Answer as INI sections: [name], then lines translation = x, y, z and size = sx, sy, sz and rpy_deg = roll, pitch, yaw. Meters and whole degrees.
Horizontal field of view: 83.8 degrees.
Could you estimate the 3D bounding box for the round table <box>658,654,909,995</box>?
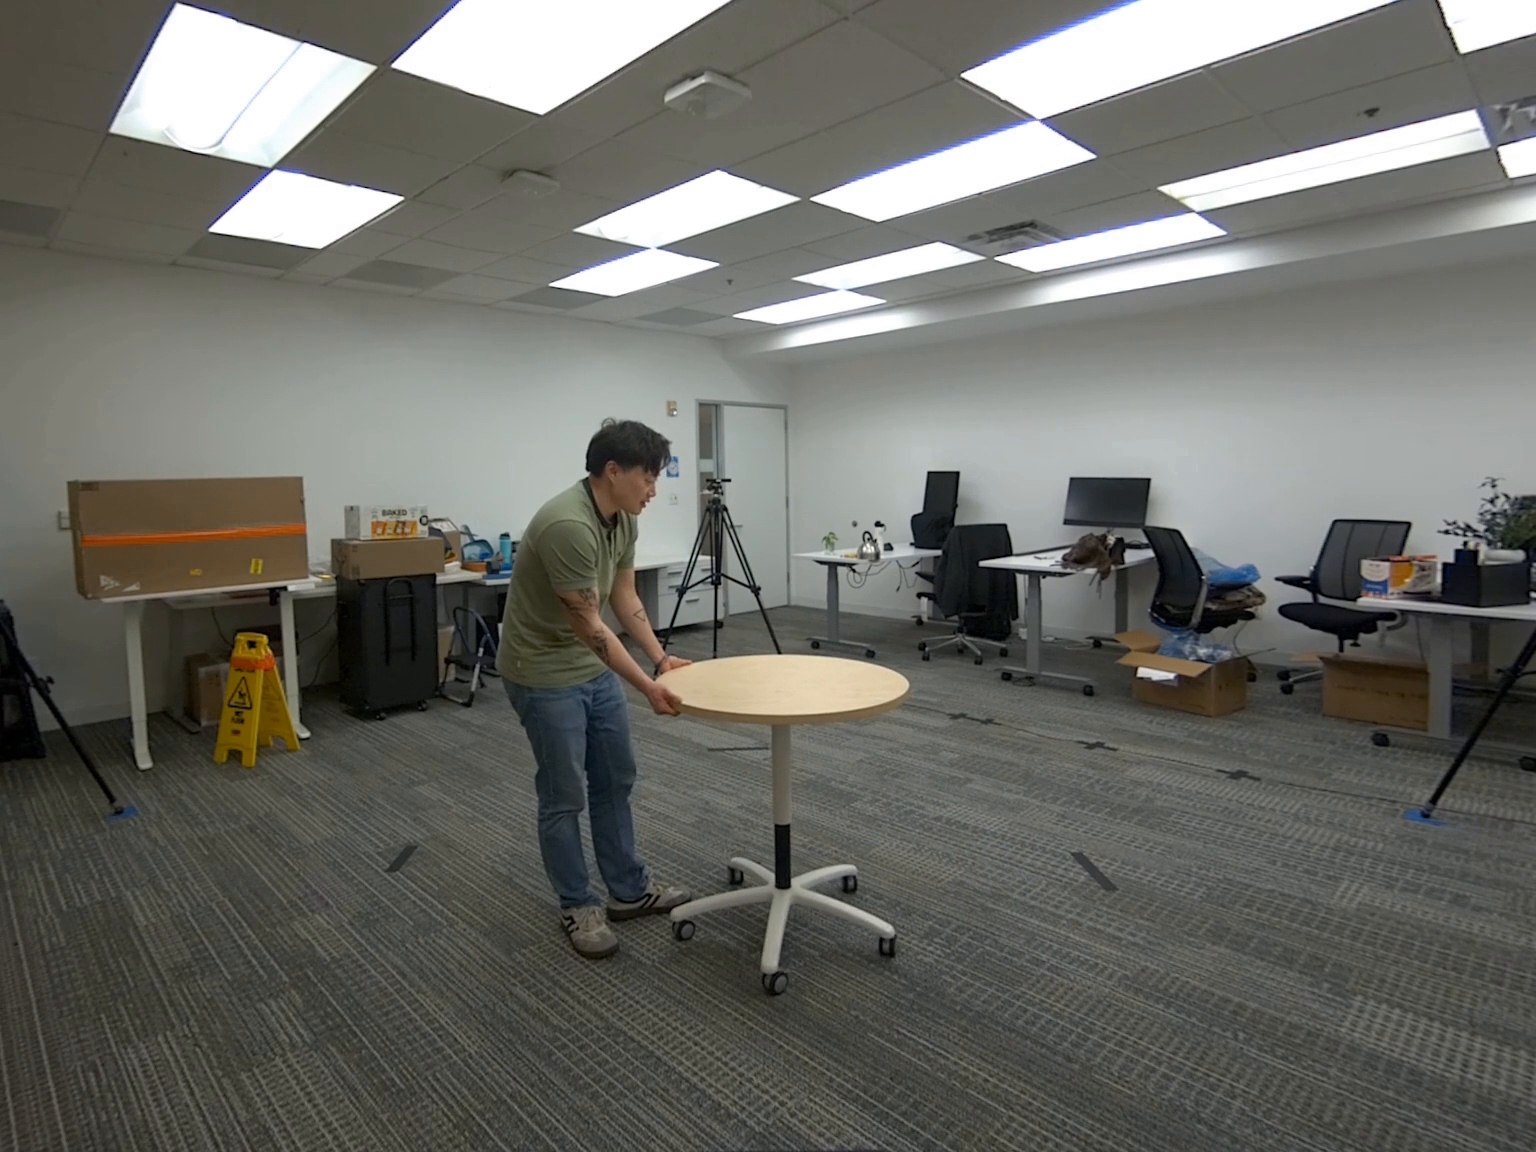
[round table]
translation = 0.047, 0.708, 2.622
size = 0.763, 0.791, 0.768
rpy_deg = -1, 5, -2
